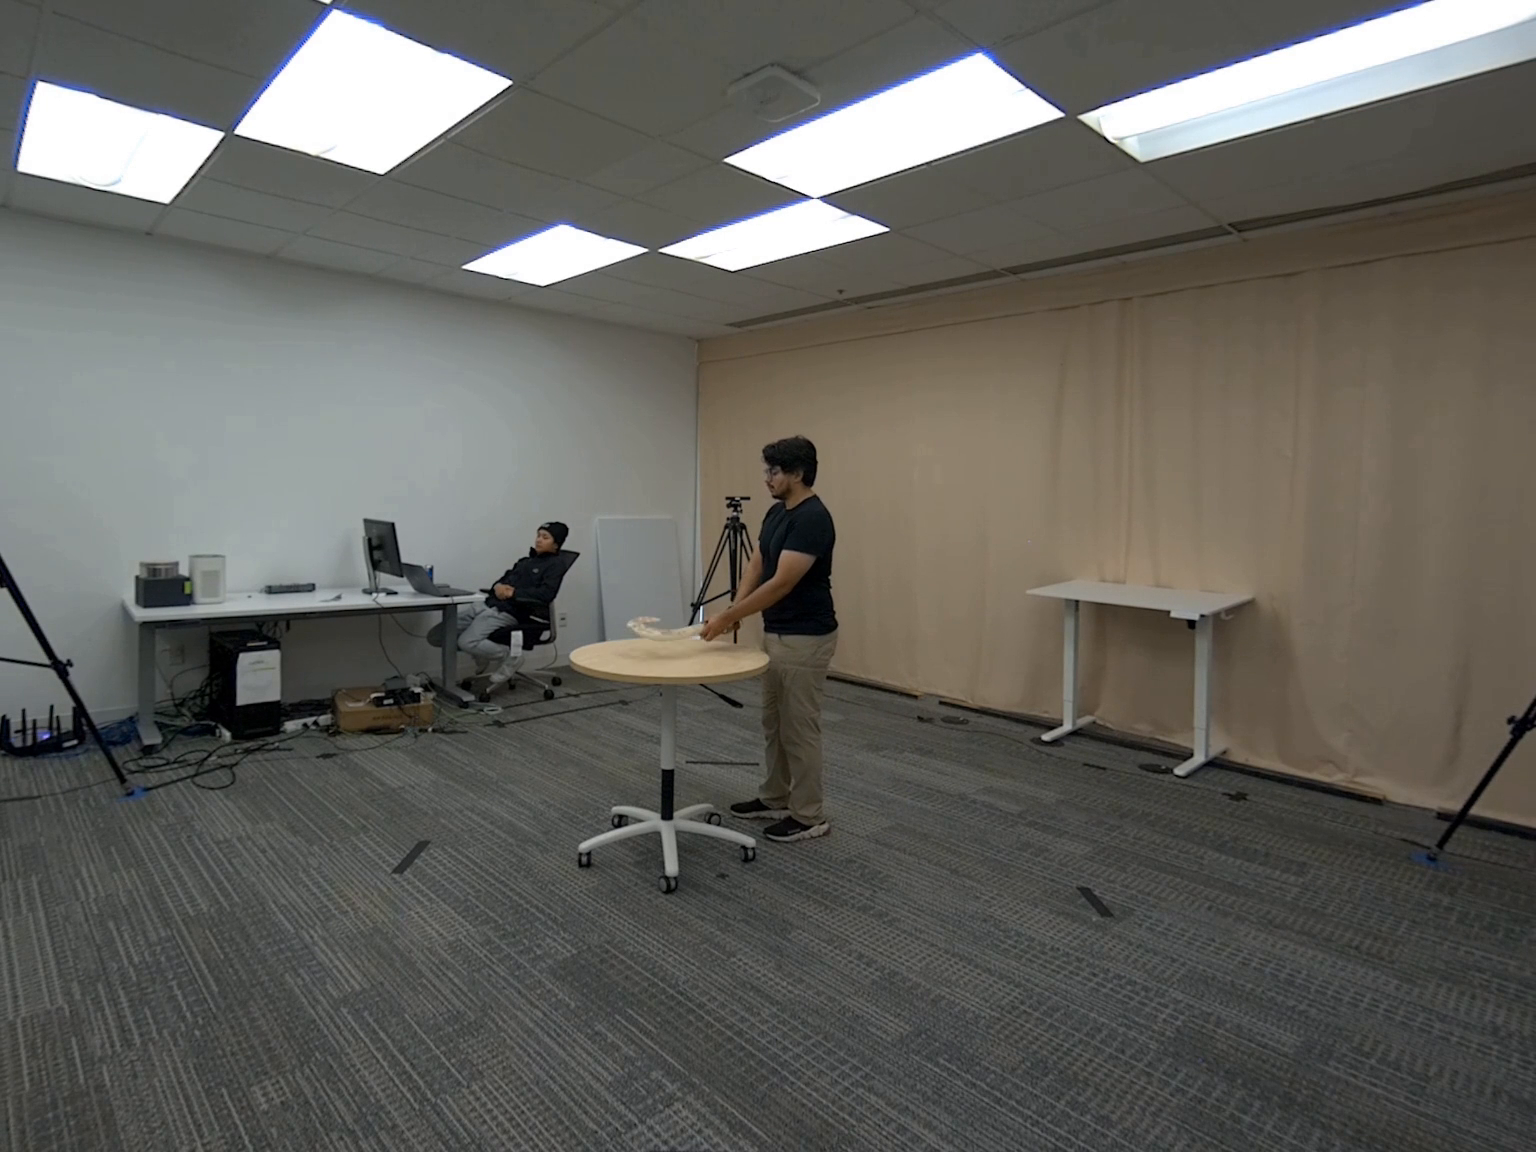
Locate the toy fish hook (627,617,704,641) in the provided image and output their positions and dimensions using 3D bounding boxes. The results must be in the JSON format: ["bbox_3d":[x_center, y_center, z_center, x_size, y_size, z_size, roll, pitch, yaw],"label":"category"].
[{"bbox_3d":[-0.342,0.201,3.362,0.494,0.048,0.232,0,23,-45],"label":"toy fish hook"}]
